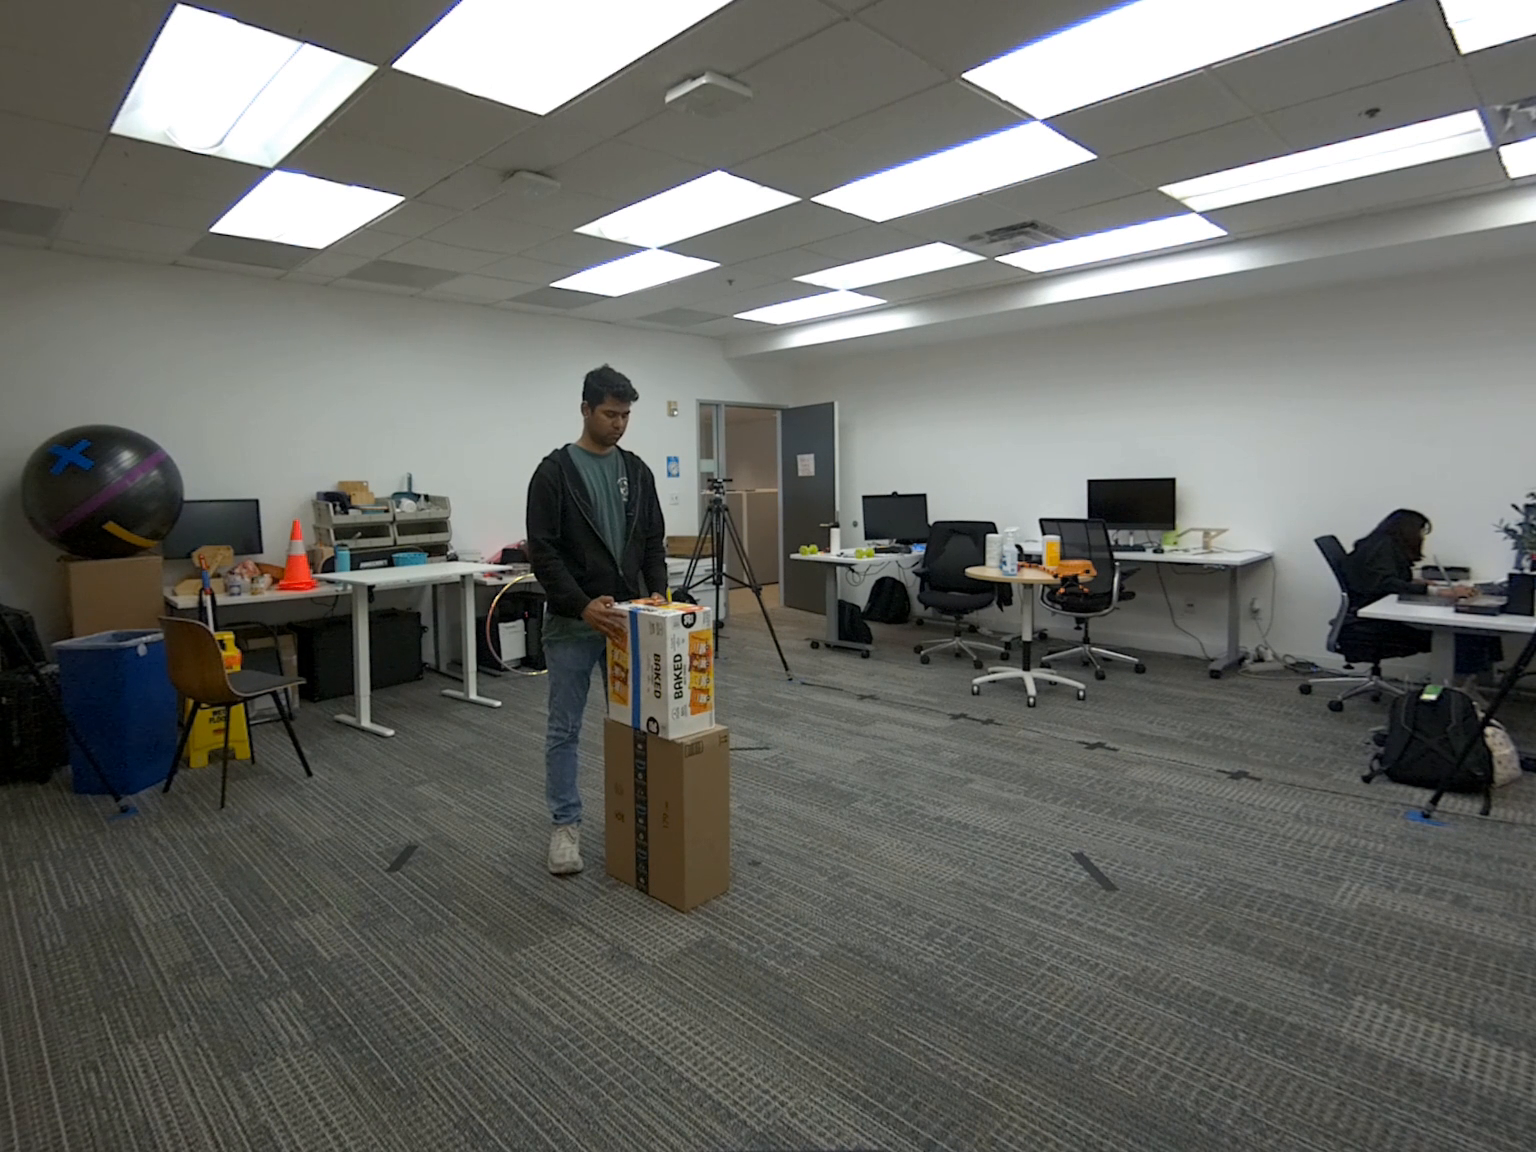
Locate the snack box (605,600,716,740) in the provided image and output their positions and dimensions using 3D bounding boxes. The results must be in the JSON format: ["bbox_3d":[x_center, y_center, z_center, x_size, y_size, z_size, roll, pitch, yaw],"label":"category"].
[{"bbox_3d":[-0.367,0.301,2.912,0.200,0.404,0.351,-5,6,-43],"label":"snack box"}]
